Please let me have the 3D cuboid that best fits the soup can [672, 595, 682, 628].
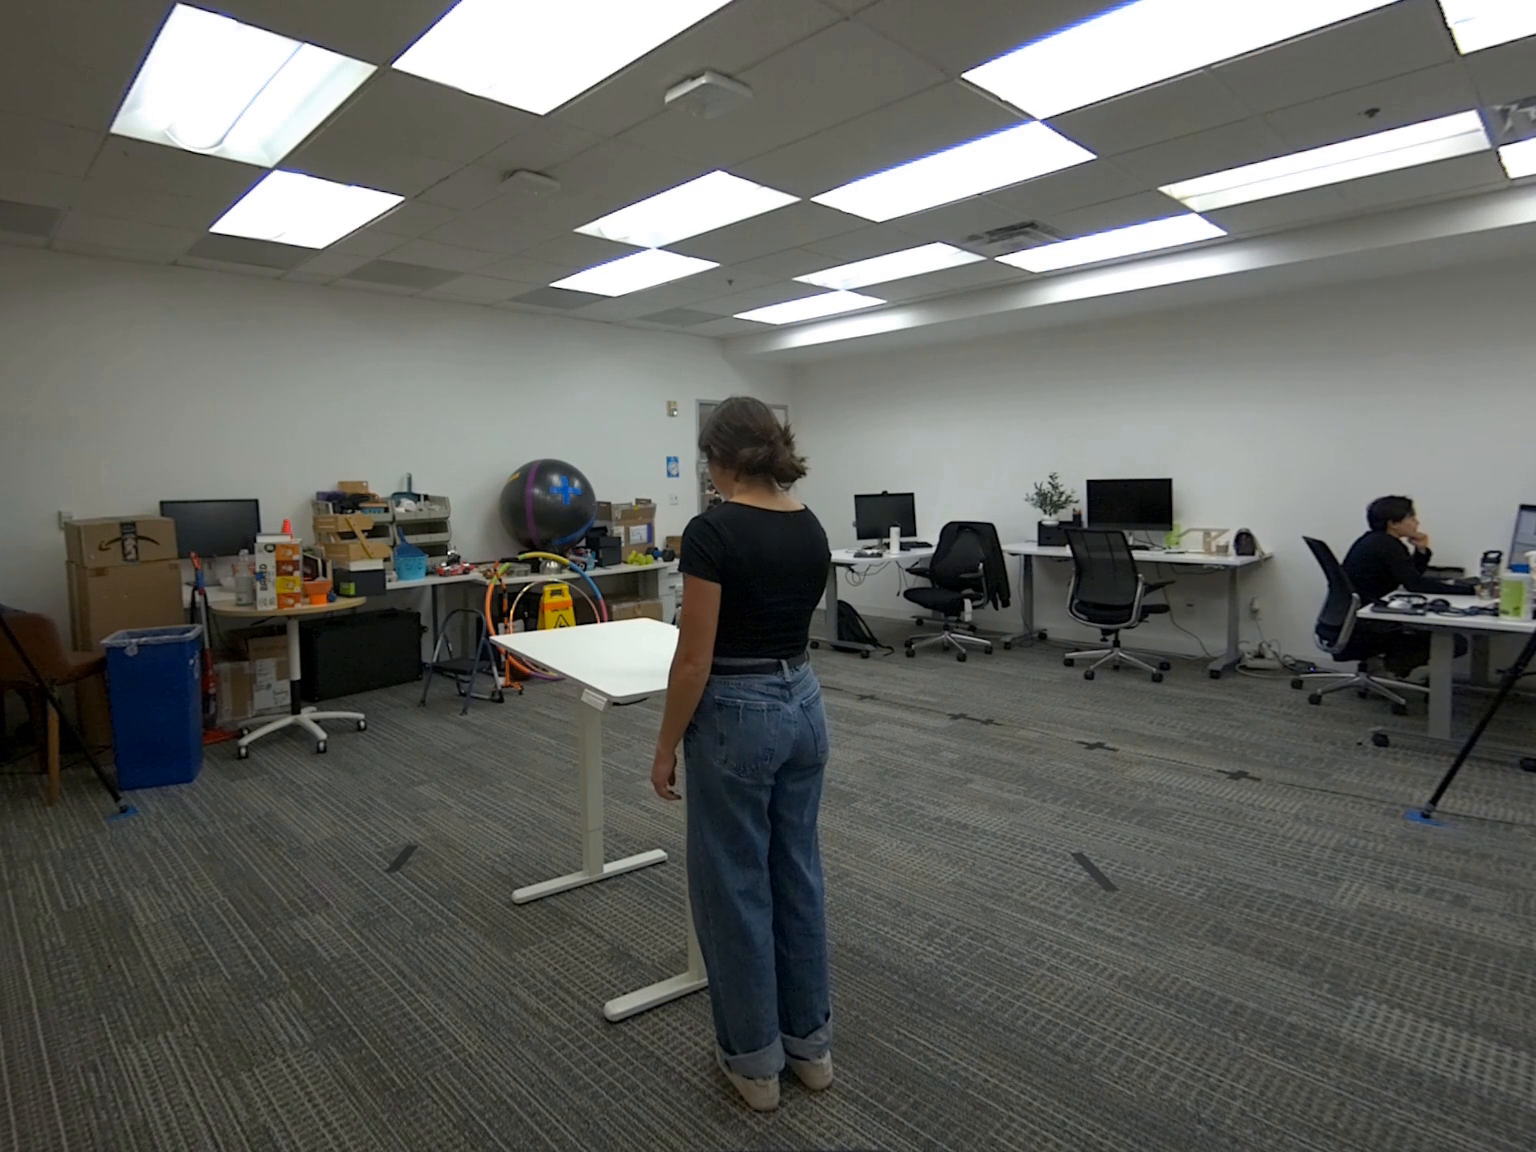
[{"bbox_3d":[-0.226,0.086,2.325,0.067,0.122,0.067,1,-6,-2],"label":"soup can"}]
